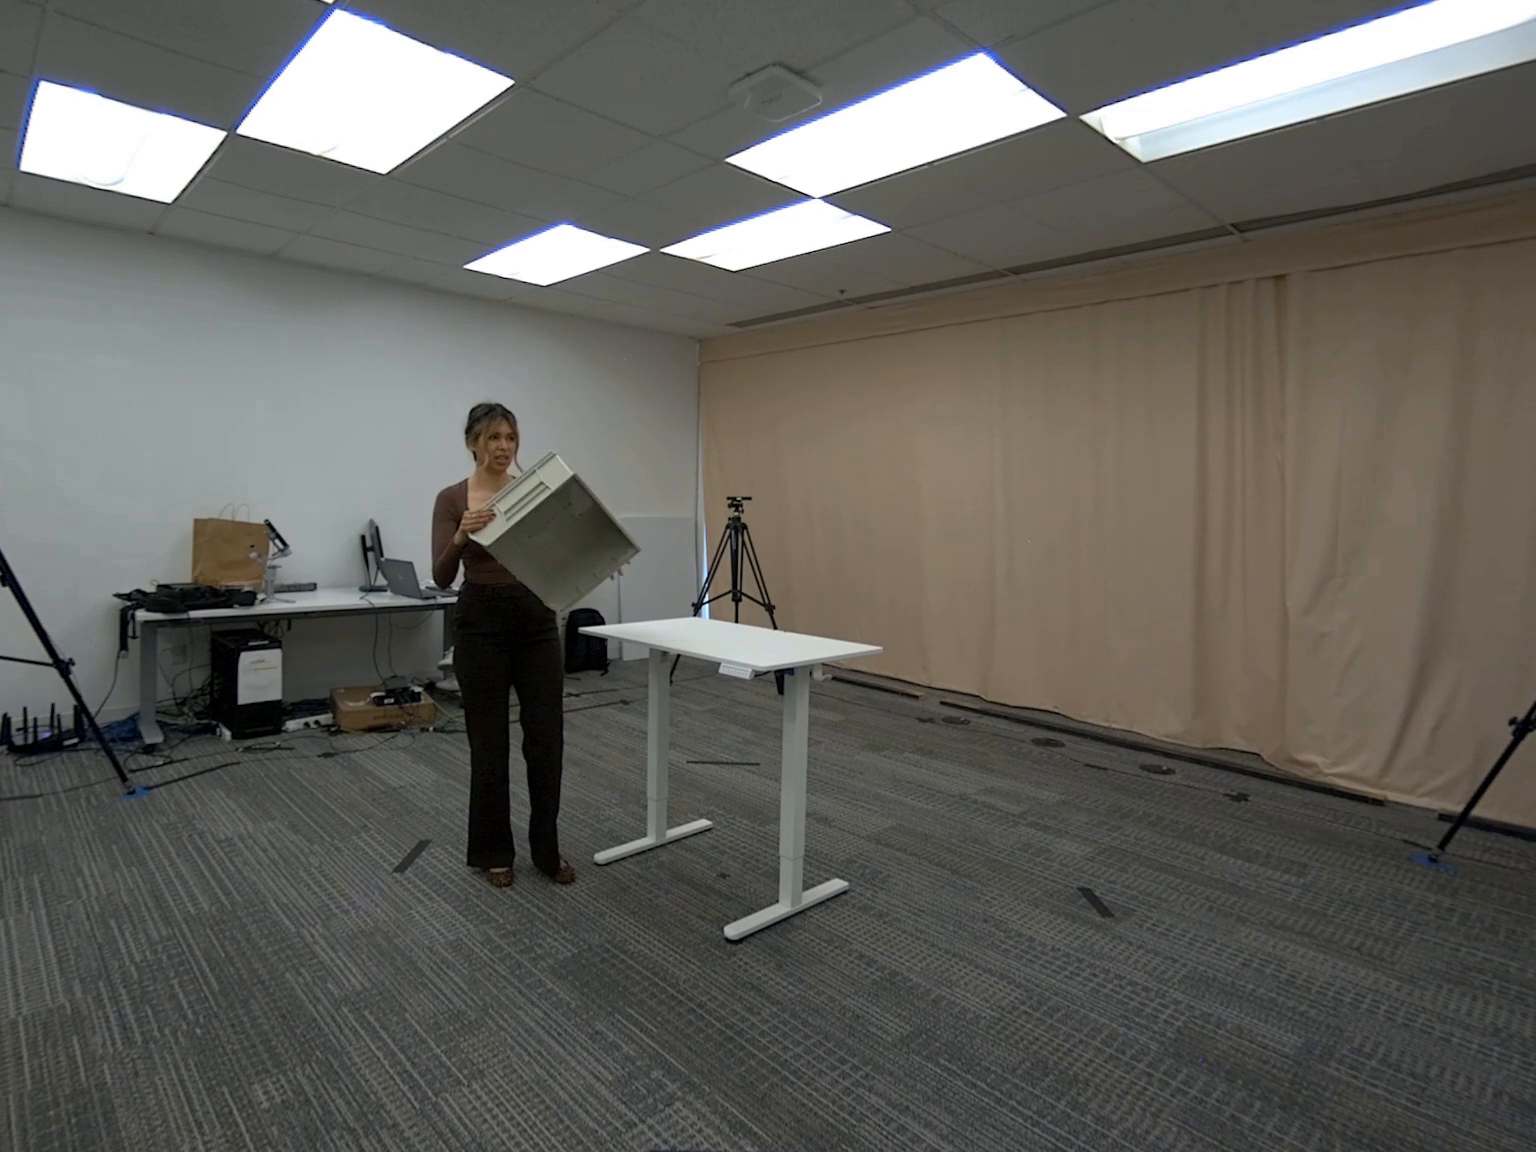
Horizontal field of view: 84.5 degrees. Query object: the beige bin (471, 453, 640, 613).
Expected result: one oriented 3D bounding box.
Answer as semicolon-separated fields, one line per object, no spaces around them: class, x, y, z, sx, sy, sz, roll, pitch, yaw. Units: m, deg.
beige bin;-0.695;-0.122;2.717;0.195;0.377;0.409;47;-5;42
